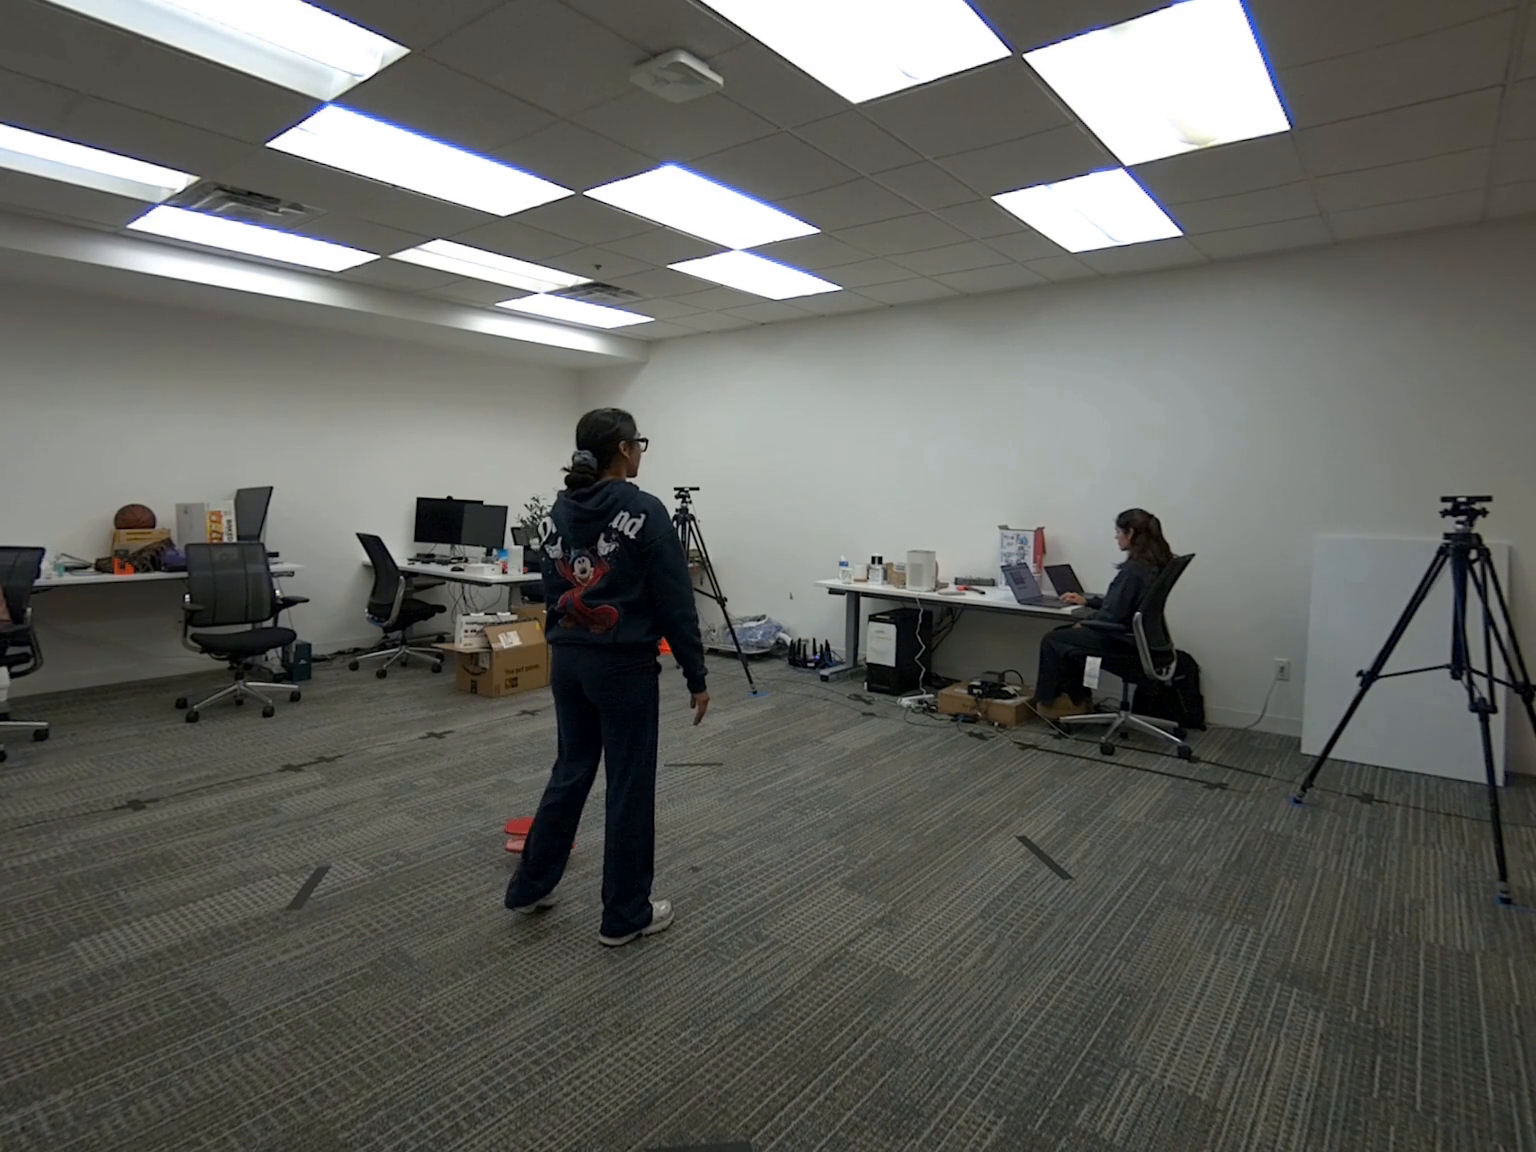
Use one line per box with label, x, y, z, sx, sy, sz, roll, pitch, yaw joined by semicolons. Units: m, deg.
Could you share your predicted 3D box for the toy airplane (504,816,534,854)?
toy airplane;-0.821;0.974;3.109;0.244;0.156;0.267;-2;4;-36
